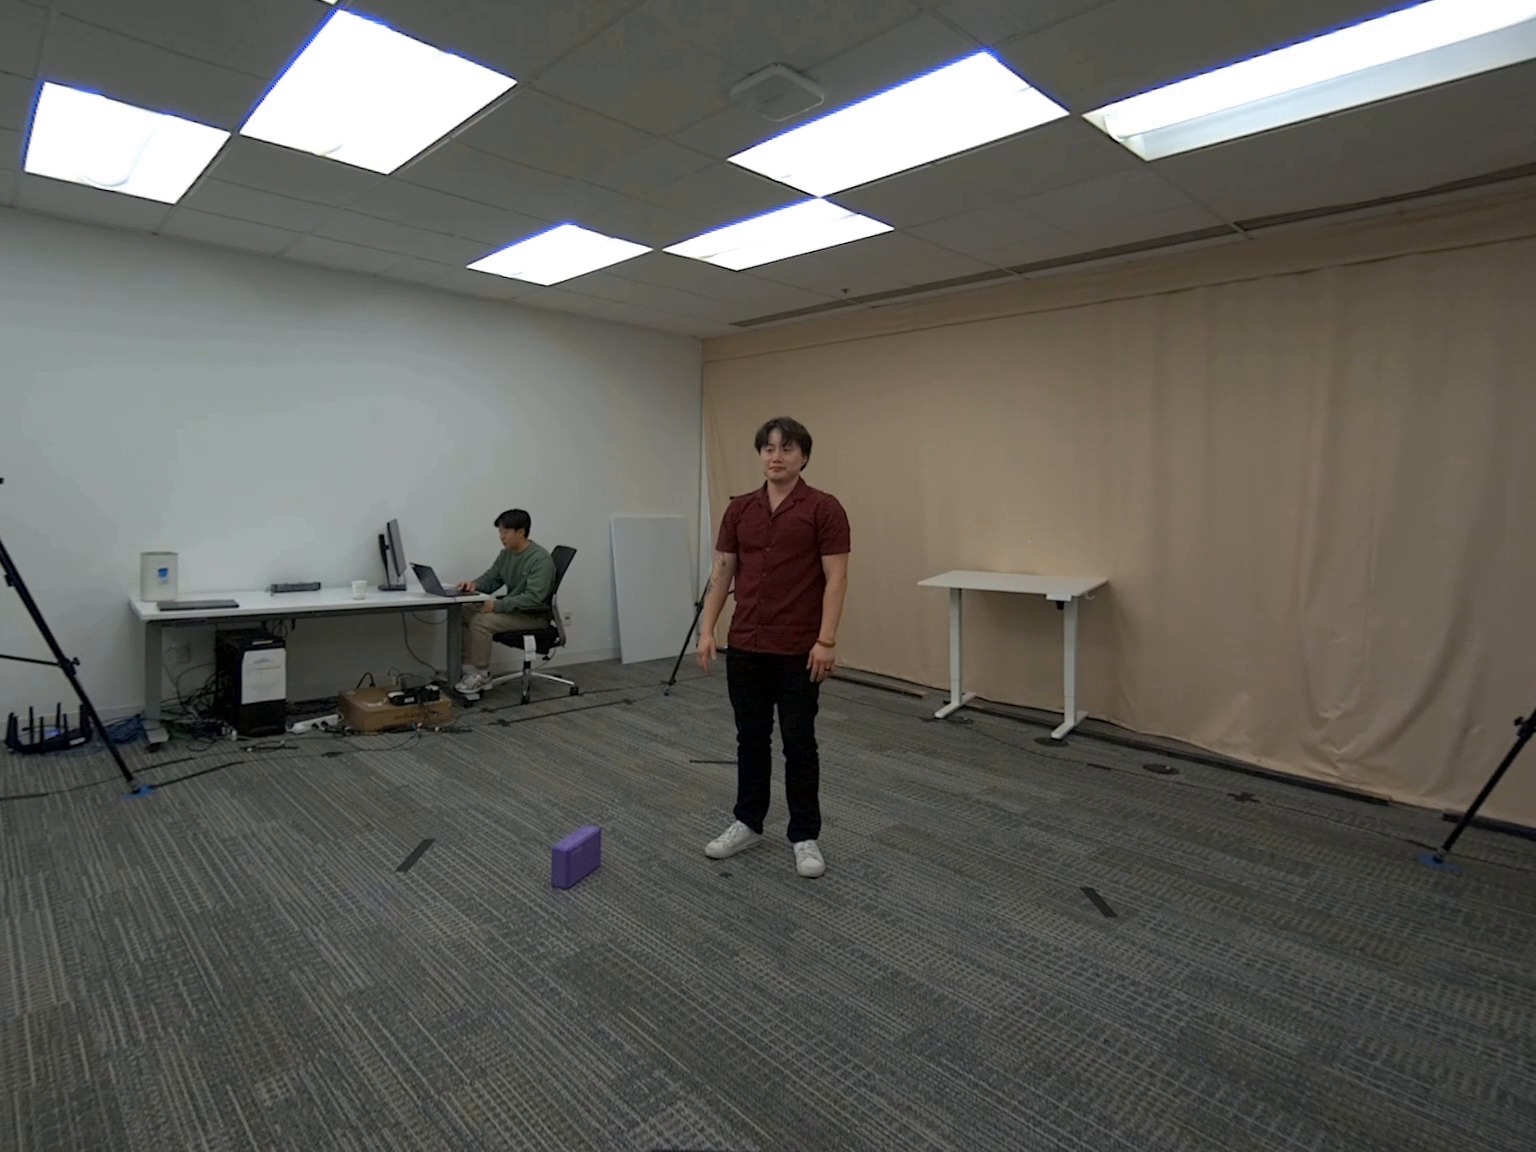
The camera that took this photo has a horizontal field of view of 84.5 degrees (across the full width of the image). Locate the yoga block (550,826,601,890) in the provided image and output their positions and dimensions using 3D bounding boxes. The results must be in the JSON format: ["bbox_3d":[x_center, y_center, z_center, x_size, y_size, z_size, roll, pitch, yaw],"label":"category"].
[{"bbox_3d":[-0.702,1.018,3.062,0.078,0.148,0.226,3,4,20],"label":"yoga block"}]
